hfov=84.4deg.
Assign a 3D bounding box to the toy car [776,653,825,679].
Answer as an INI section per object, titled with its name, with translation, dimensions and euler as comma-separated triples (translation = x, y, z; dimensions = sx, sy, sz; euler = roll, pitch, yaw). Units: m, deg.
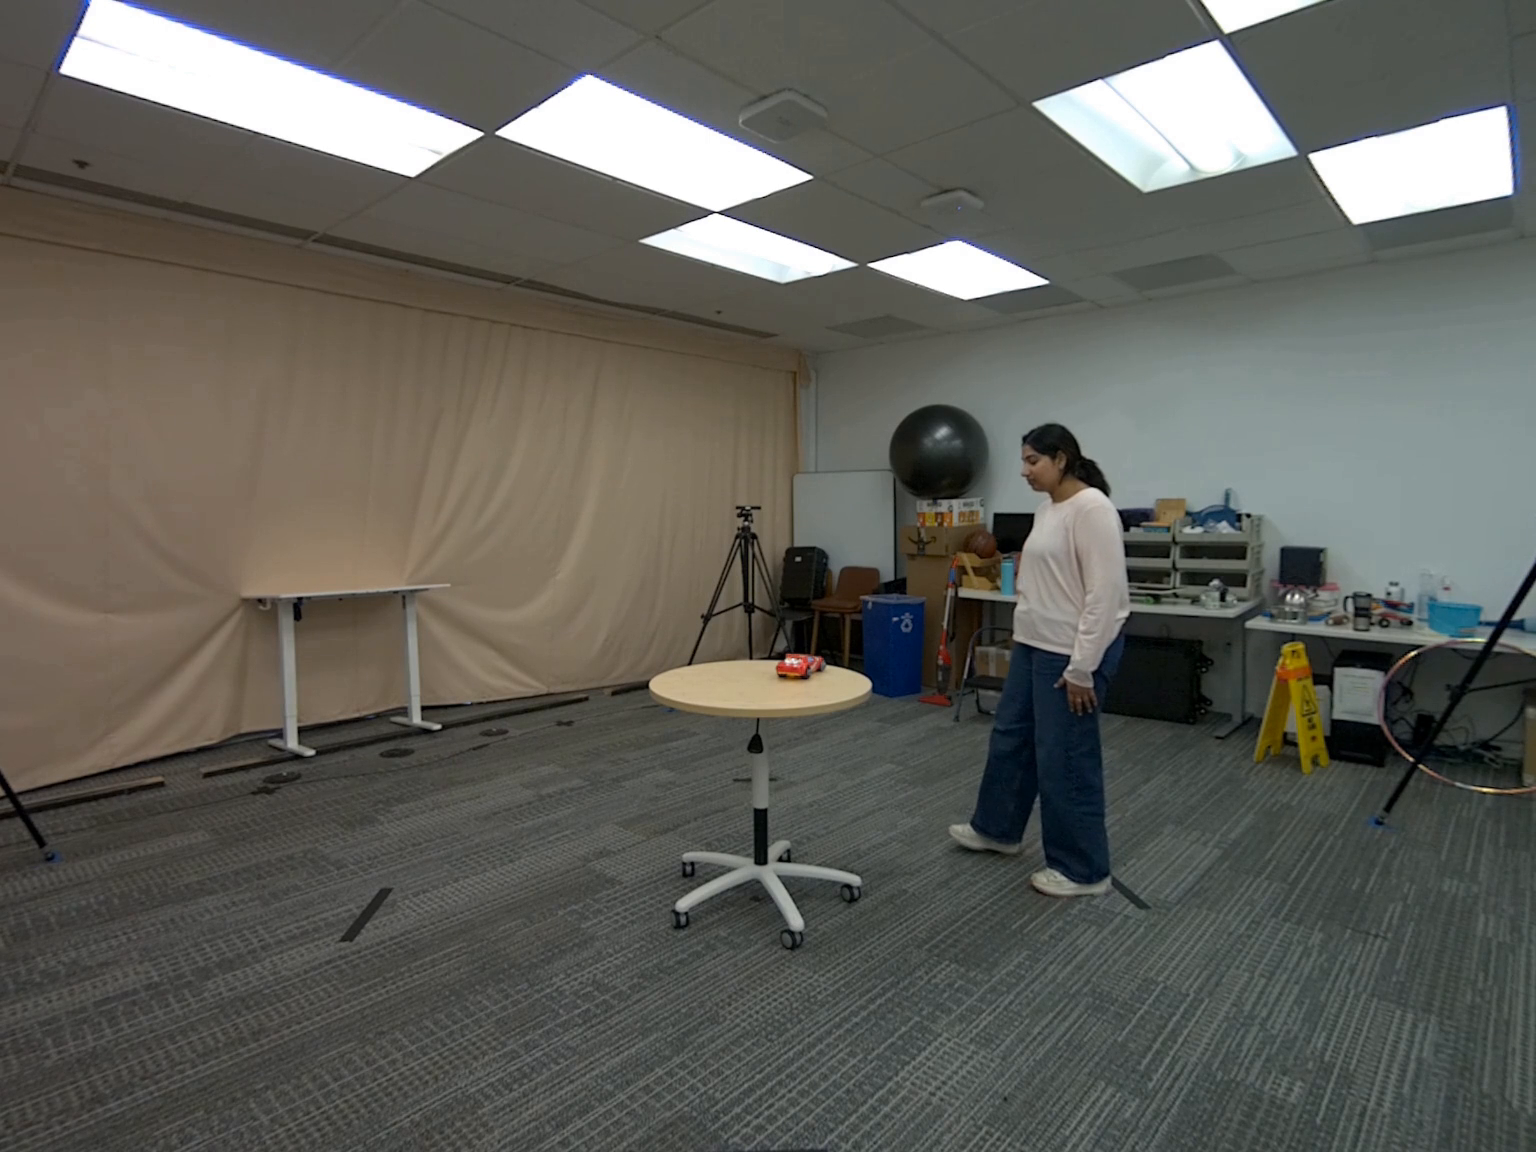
[toy car]
translation = 0.114, 0.328, 3.014
dimensions = 0.134, 0.083, 0.247
euler = 2, -6, 25
